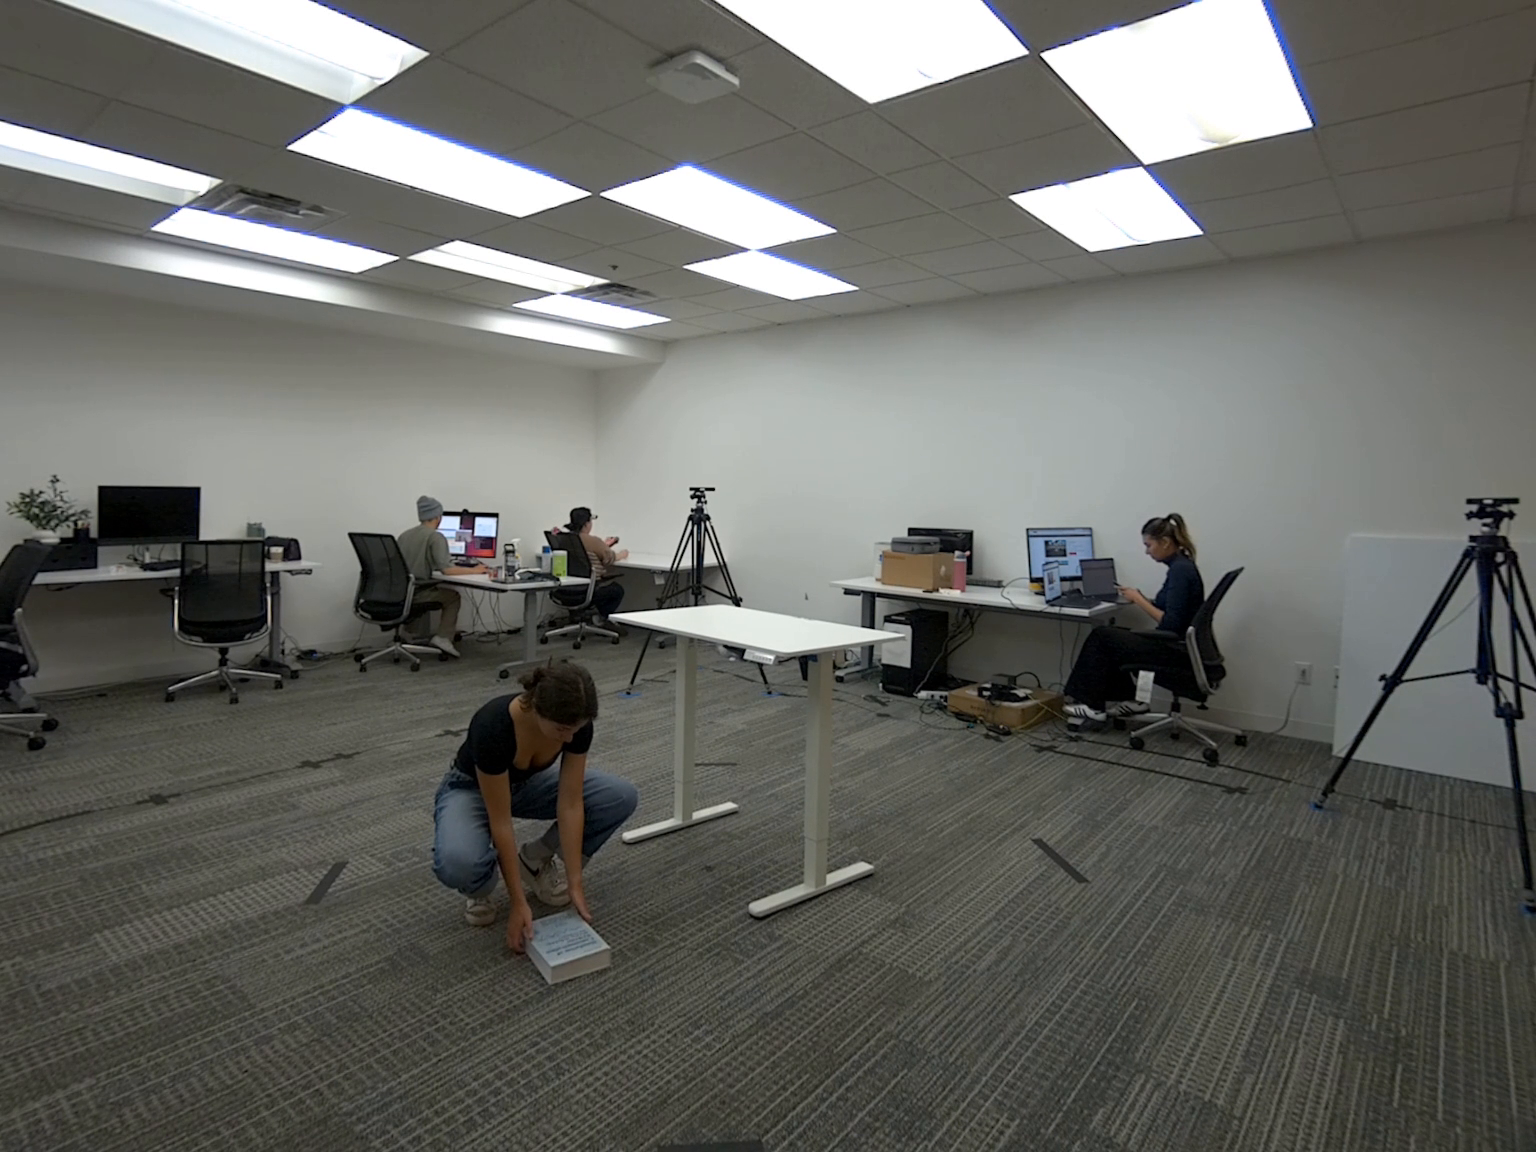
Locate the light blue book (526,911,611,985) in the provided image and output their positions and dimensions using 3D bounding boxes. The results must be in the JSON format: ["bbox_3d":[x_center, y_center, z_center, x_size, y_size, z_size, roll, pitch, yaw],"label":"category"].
[{"bbox_3d":[-0.616,1.096,2.505,0.186,0.059,0.269,-5,8,-35],"label":"light blue book"}]
